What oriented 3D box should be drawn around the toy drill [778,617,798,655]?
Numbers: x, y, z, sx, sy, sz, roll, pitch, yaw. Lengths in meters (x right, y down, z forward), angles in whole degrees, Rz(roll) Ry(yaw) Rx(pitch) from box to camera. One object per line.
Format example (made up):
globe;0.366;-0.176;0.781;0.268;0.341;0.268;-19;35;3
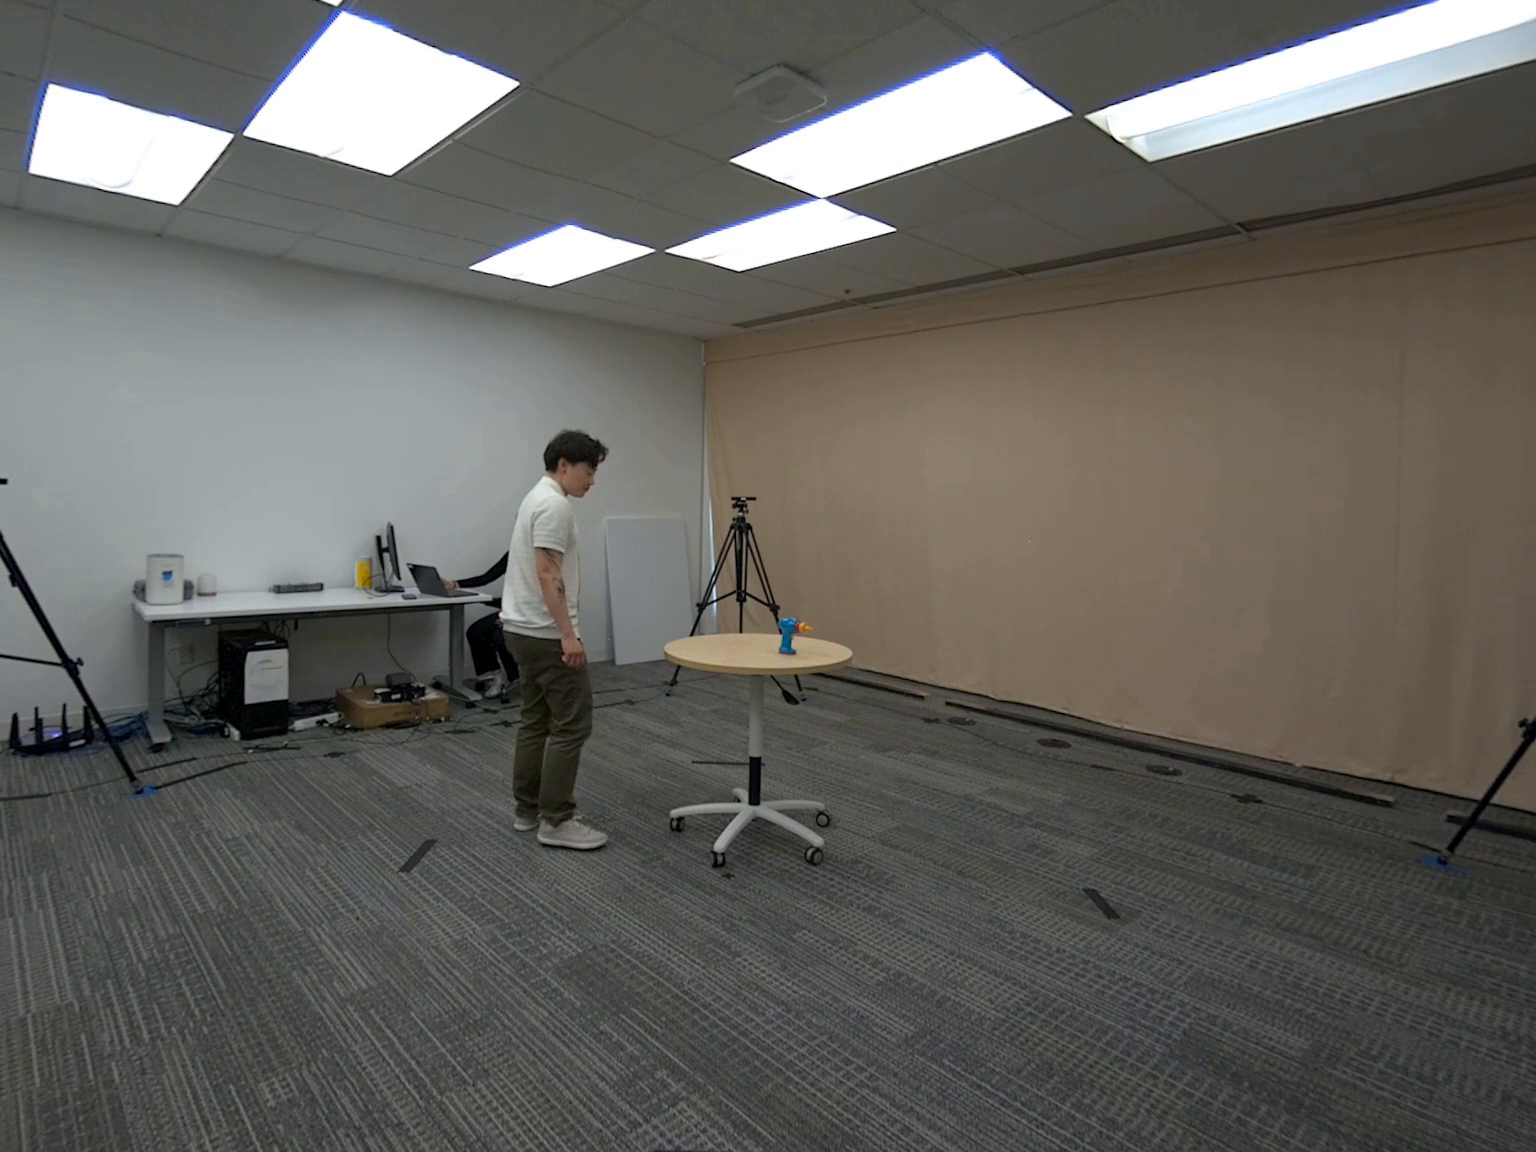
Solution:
toy drill;0.098;0.239;3.315;0.174;0.145;0.060;6;7;39
